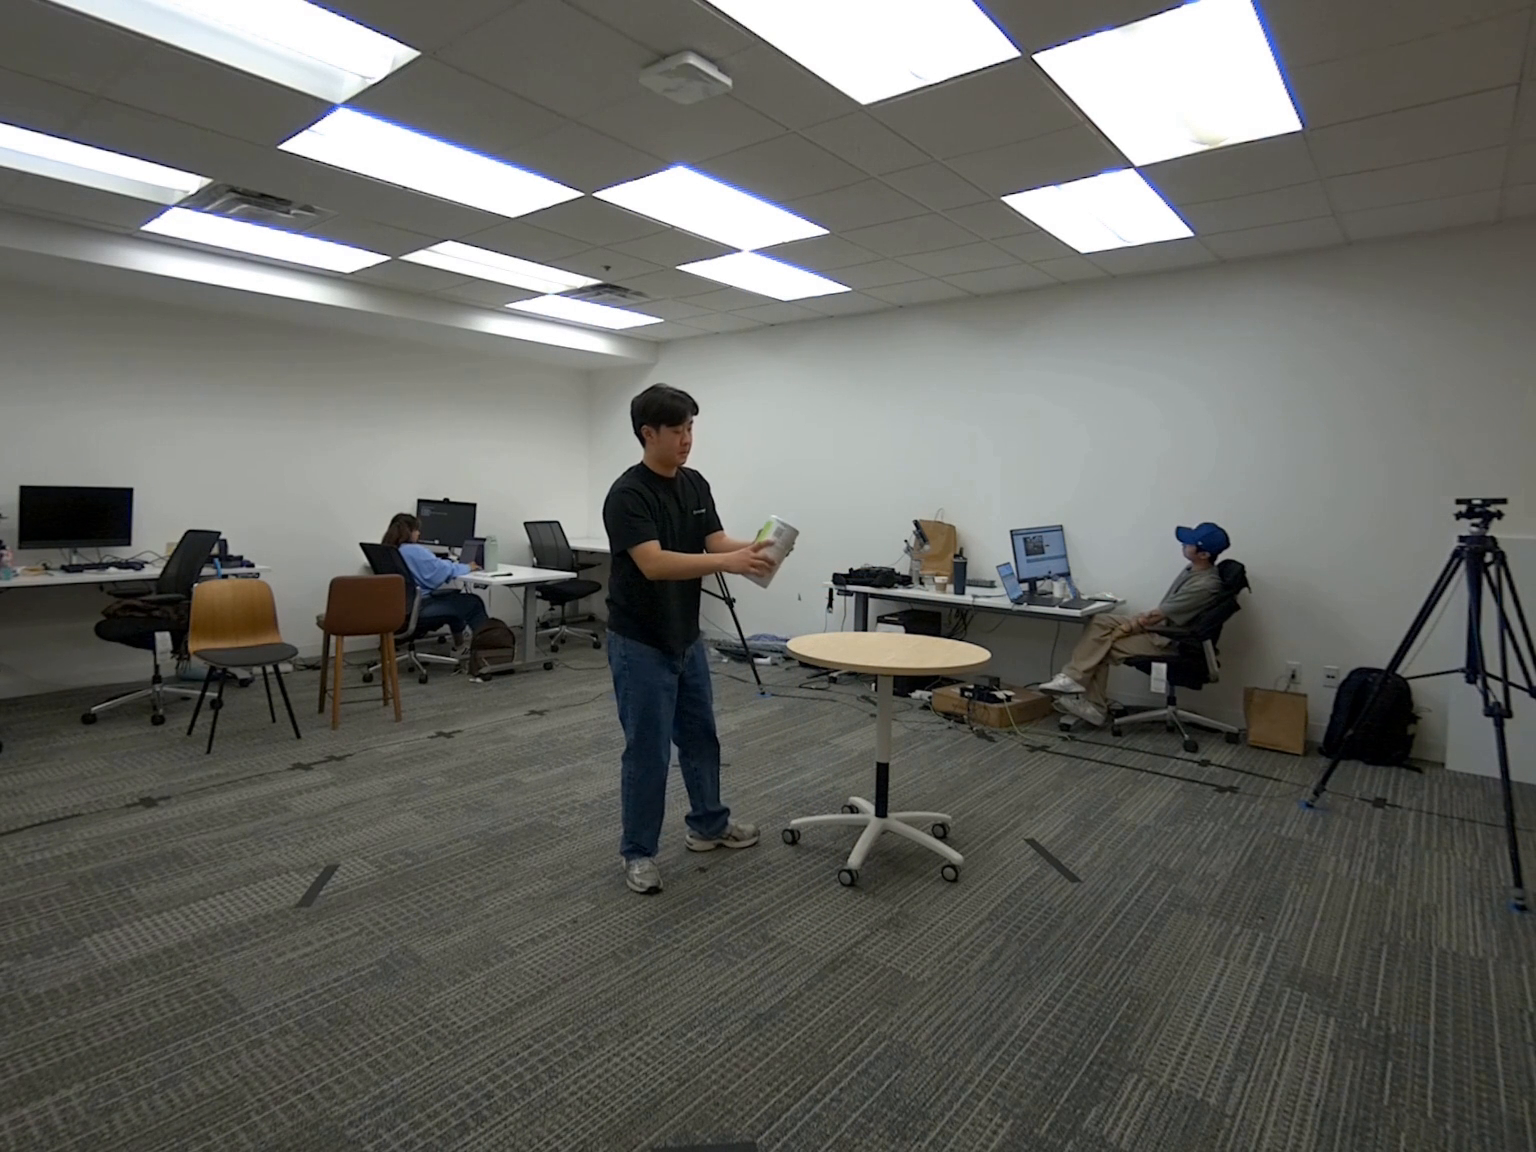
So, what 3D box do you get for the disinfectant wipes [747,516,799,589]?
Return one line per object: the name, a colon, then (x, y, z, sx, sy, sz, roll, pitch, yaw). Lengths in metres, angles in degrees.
disinfectant wipes: (-0.004, -0.080, 2.718, 0.118, 0.217, 0.117, 30, -3, -1)
